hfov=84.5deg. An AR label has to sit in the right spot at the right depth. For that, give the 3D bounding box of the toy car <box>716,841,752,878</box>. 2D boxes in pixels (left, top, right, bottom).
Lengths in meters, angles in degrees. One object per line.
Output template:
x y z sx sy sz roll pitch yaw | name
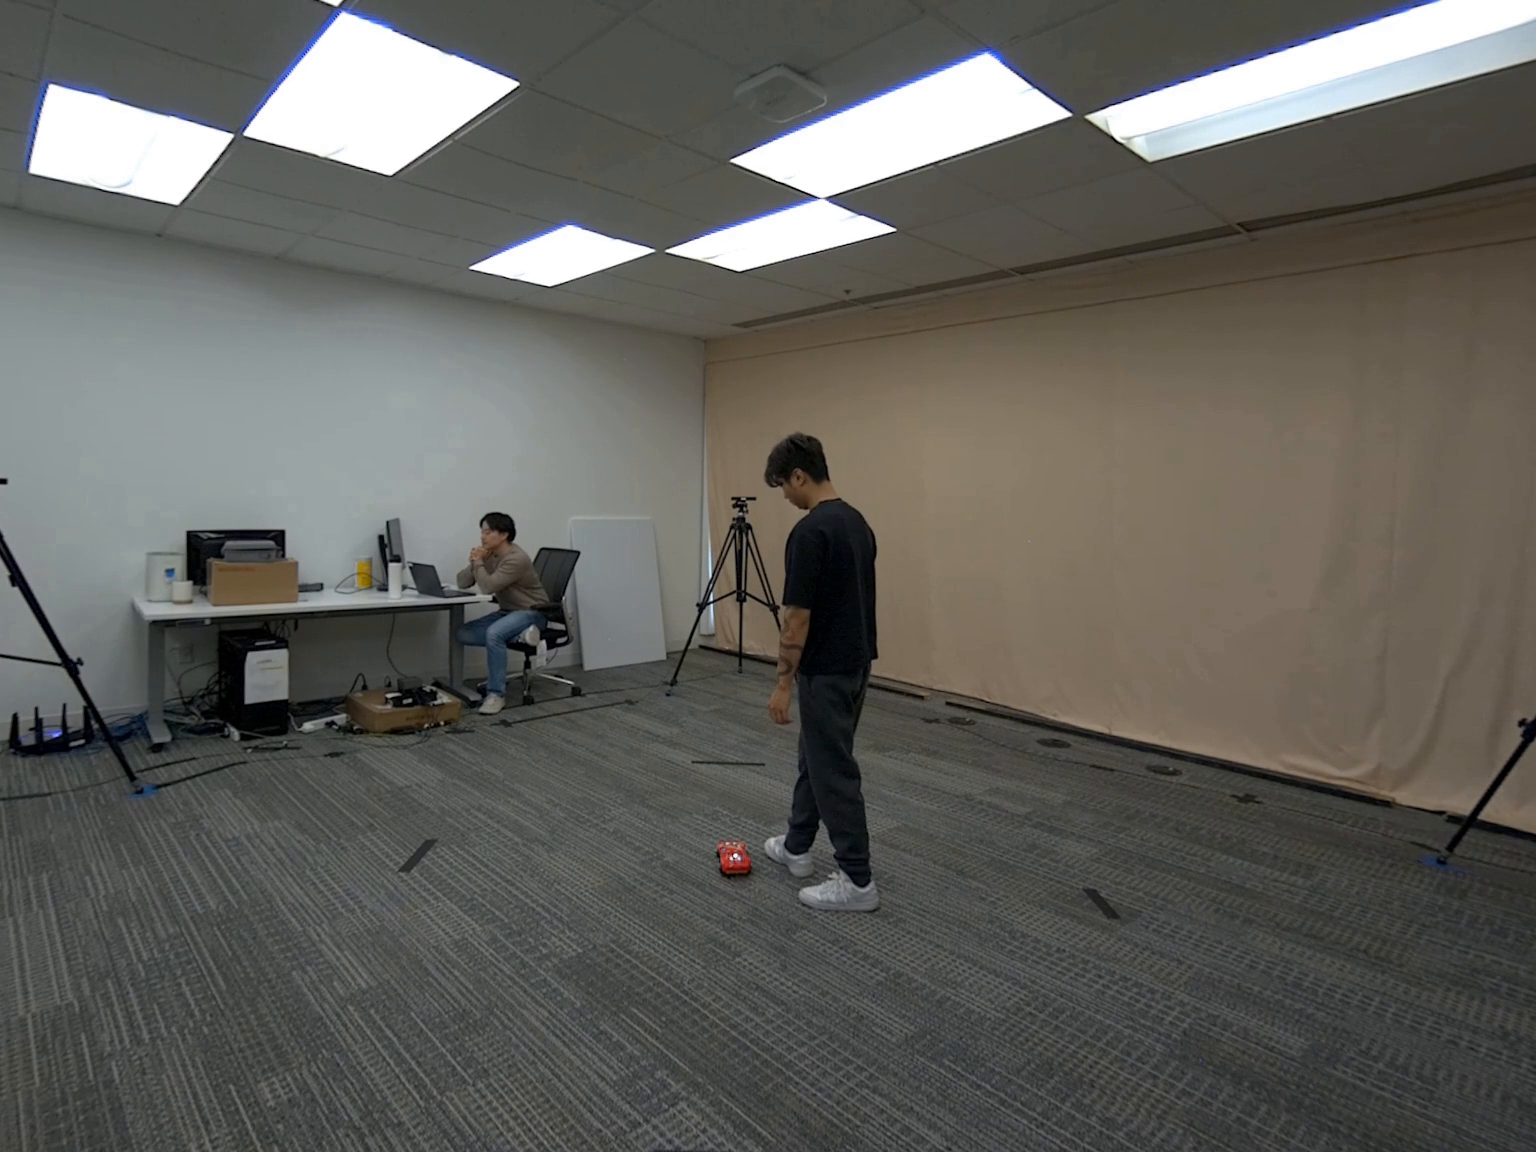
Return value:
-0.132 1.066 3.181 0.129 0.084 0.254 0 -7 -8 | toy car
